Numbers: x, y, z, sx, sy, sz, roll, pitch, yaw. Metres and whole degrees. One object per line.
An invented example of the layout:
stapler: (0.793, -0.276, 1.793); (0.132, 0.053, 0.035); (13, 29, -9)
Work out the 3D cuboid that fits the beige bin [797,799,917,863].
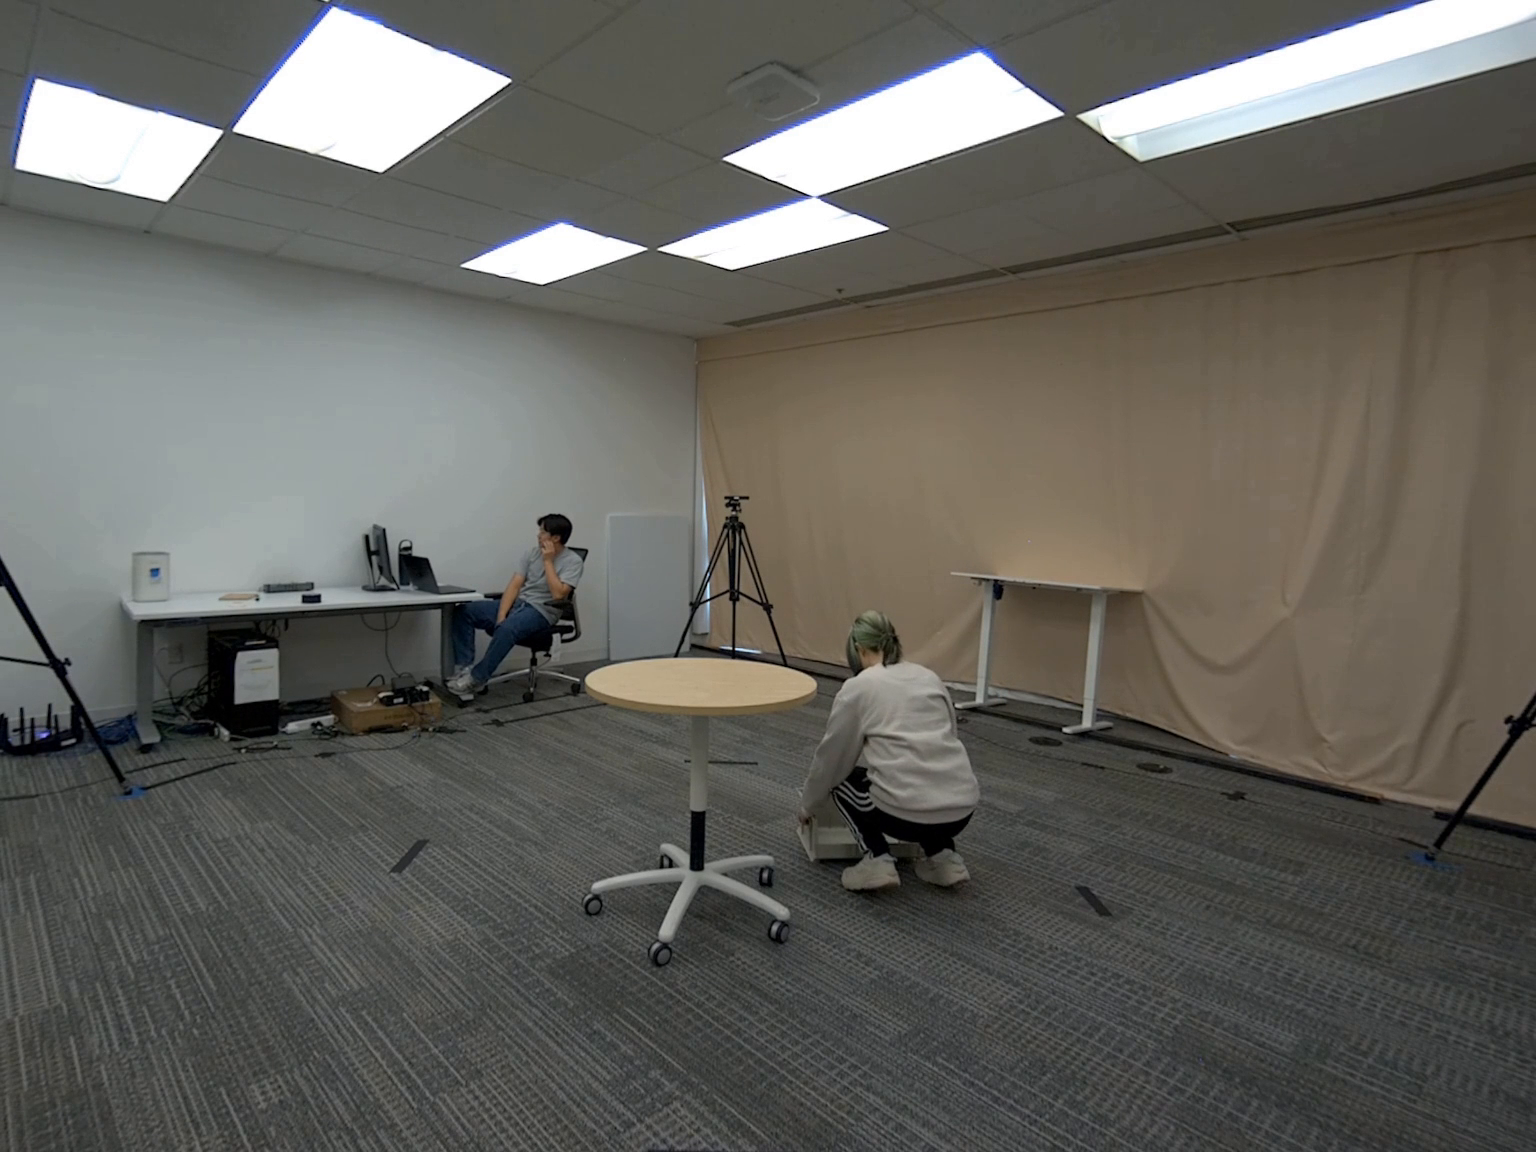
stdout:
beige bin: (0.349, 0.995, 3.386); (0.420, 0.188, 0.380); (-1, 4, -8)
